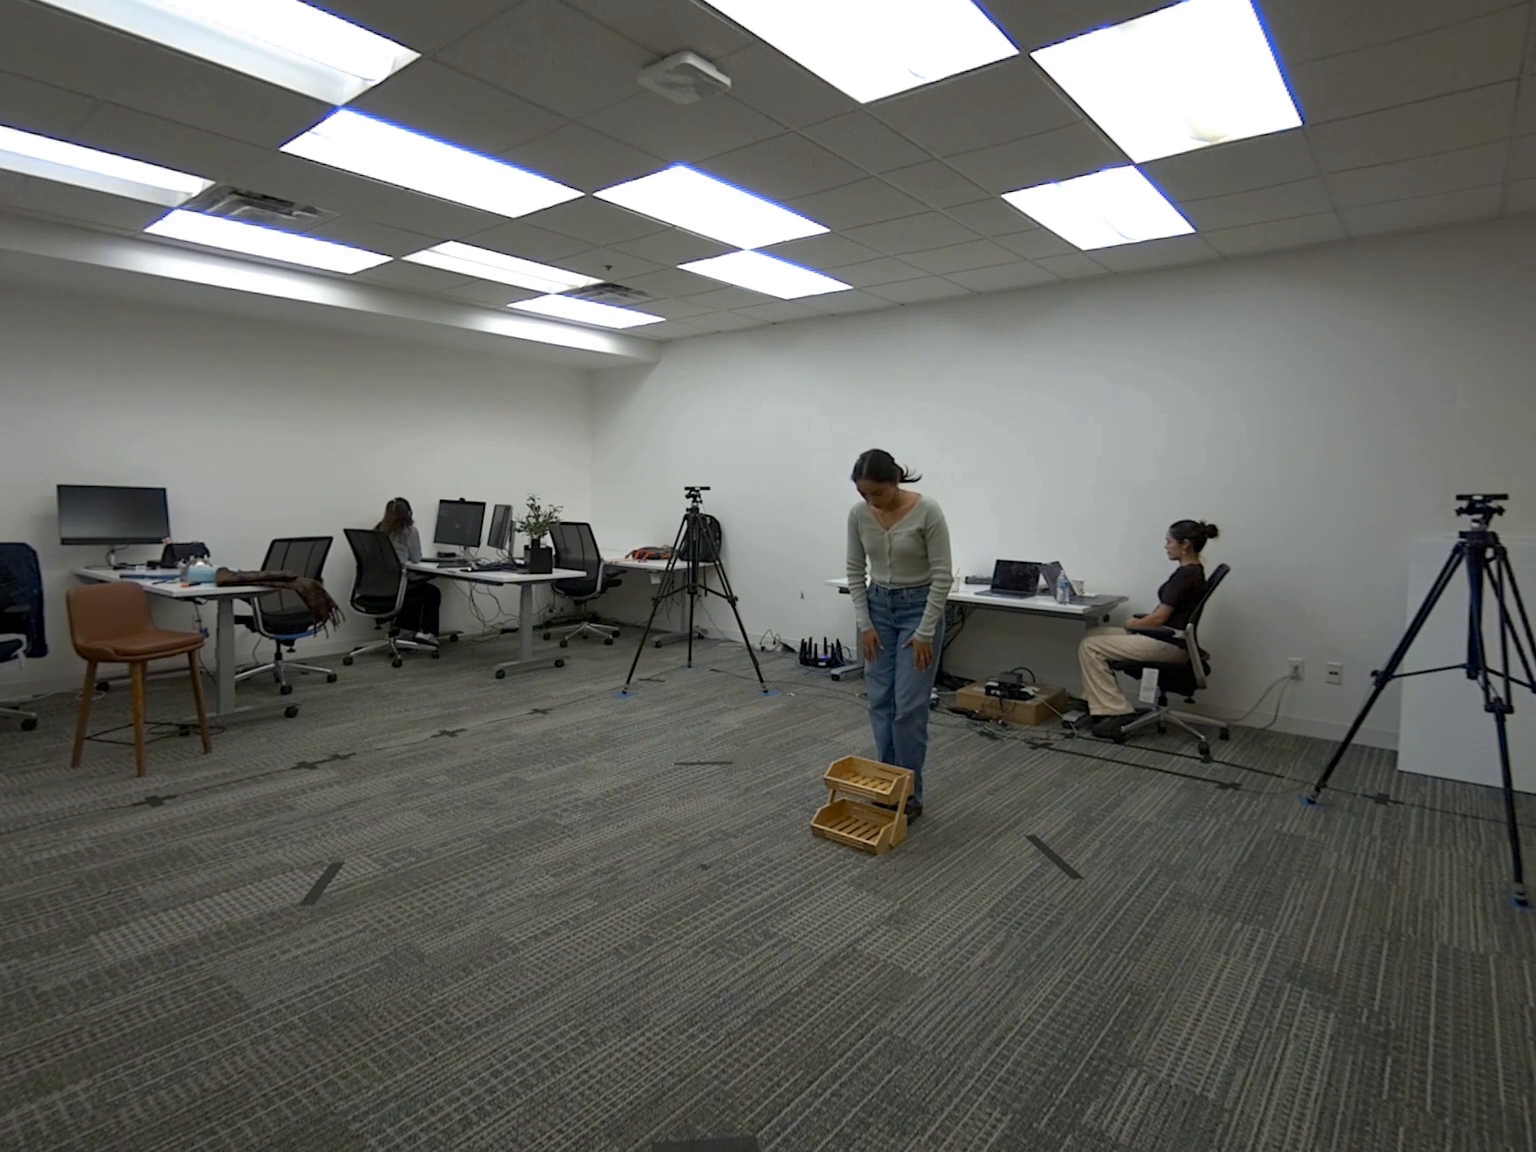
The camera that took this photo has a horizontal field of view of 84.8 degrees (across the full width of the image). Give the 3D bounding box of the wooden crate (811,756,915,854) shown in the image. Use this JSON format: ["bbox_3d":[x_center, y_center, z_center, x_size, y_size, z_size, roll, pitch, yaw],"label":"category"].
[{"bbox_3d":[0.374,0.908,3.431,0.335,0.272,0.293,4,5,38],"label":"wooden crate"}]
